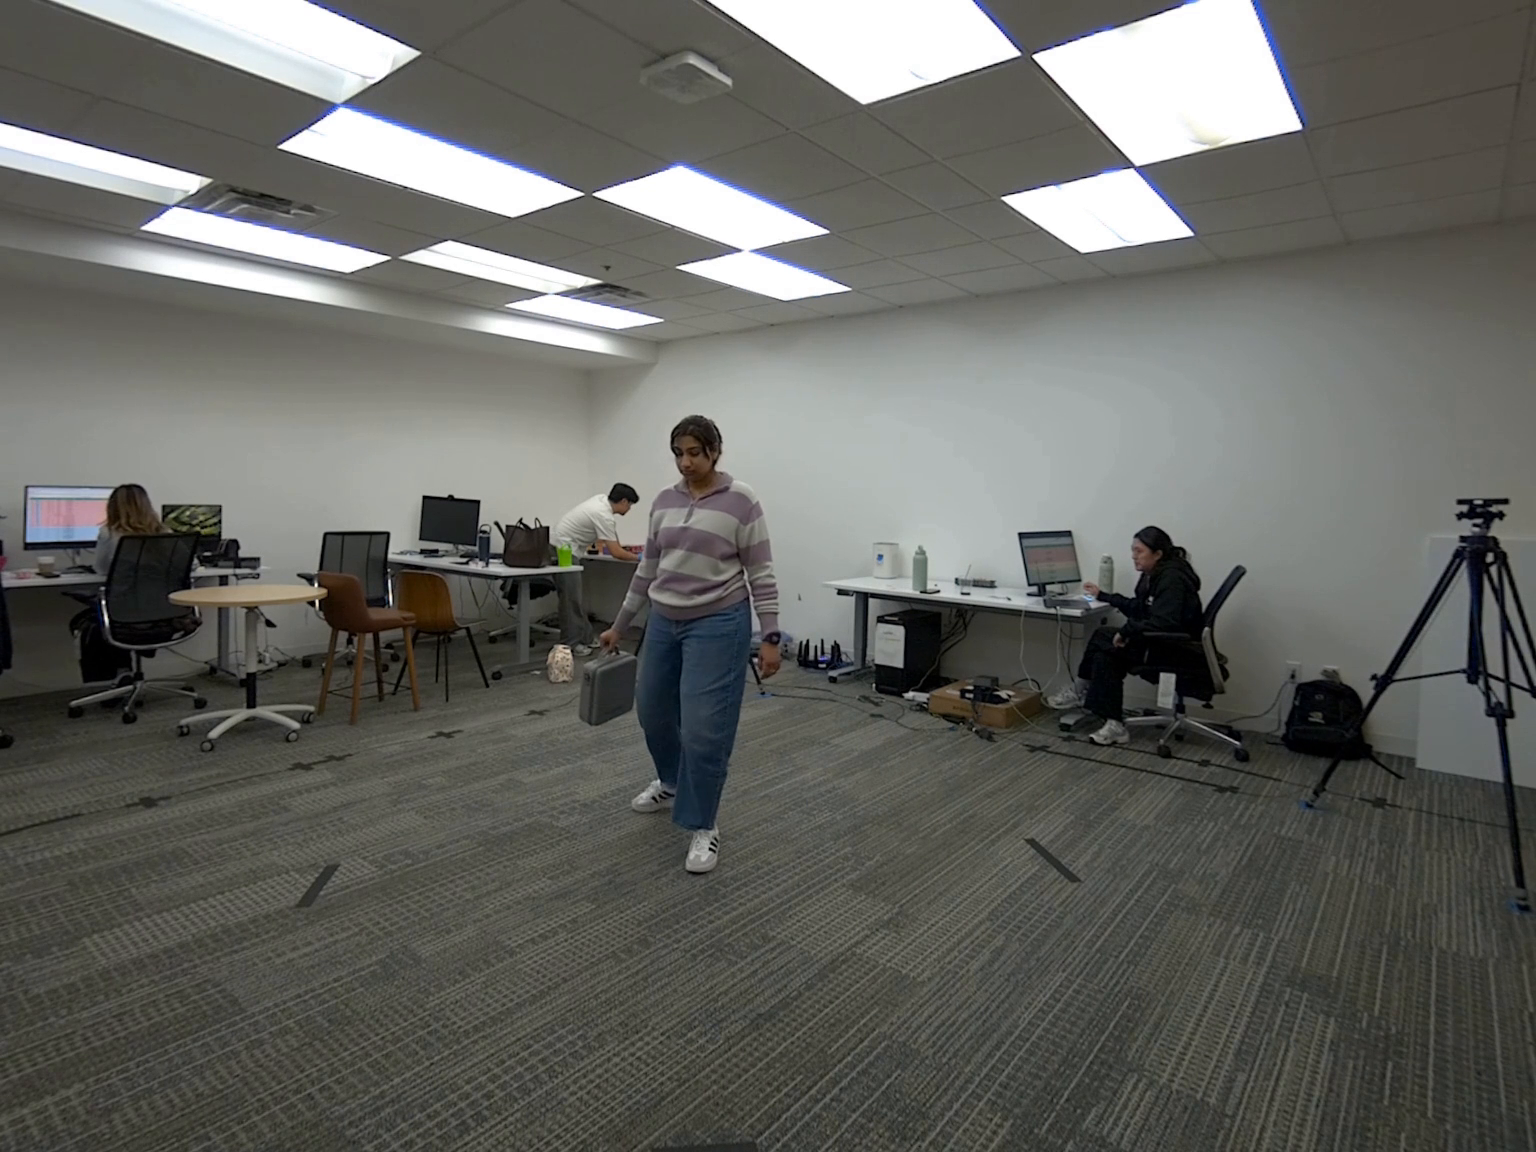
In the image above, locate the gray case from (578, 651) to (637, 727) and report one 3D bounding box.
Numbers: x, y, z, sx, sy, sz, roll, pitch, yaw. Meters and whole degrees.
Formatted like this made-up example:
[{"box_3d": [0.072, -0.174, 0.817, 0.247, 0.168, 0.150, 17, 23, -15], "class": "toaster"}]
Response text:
[{"box_3d": [-0.665, 0.454, 3.473, 0.108, 0.258, 0.251, 13, 14, 31], "class": "gray case"}]
